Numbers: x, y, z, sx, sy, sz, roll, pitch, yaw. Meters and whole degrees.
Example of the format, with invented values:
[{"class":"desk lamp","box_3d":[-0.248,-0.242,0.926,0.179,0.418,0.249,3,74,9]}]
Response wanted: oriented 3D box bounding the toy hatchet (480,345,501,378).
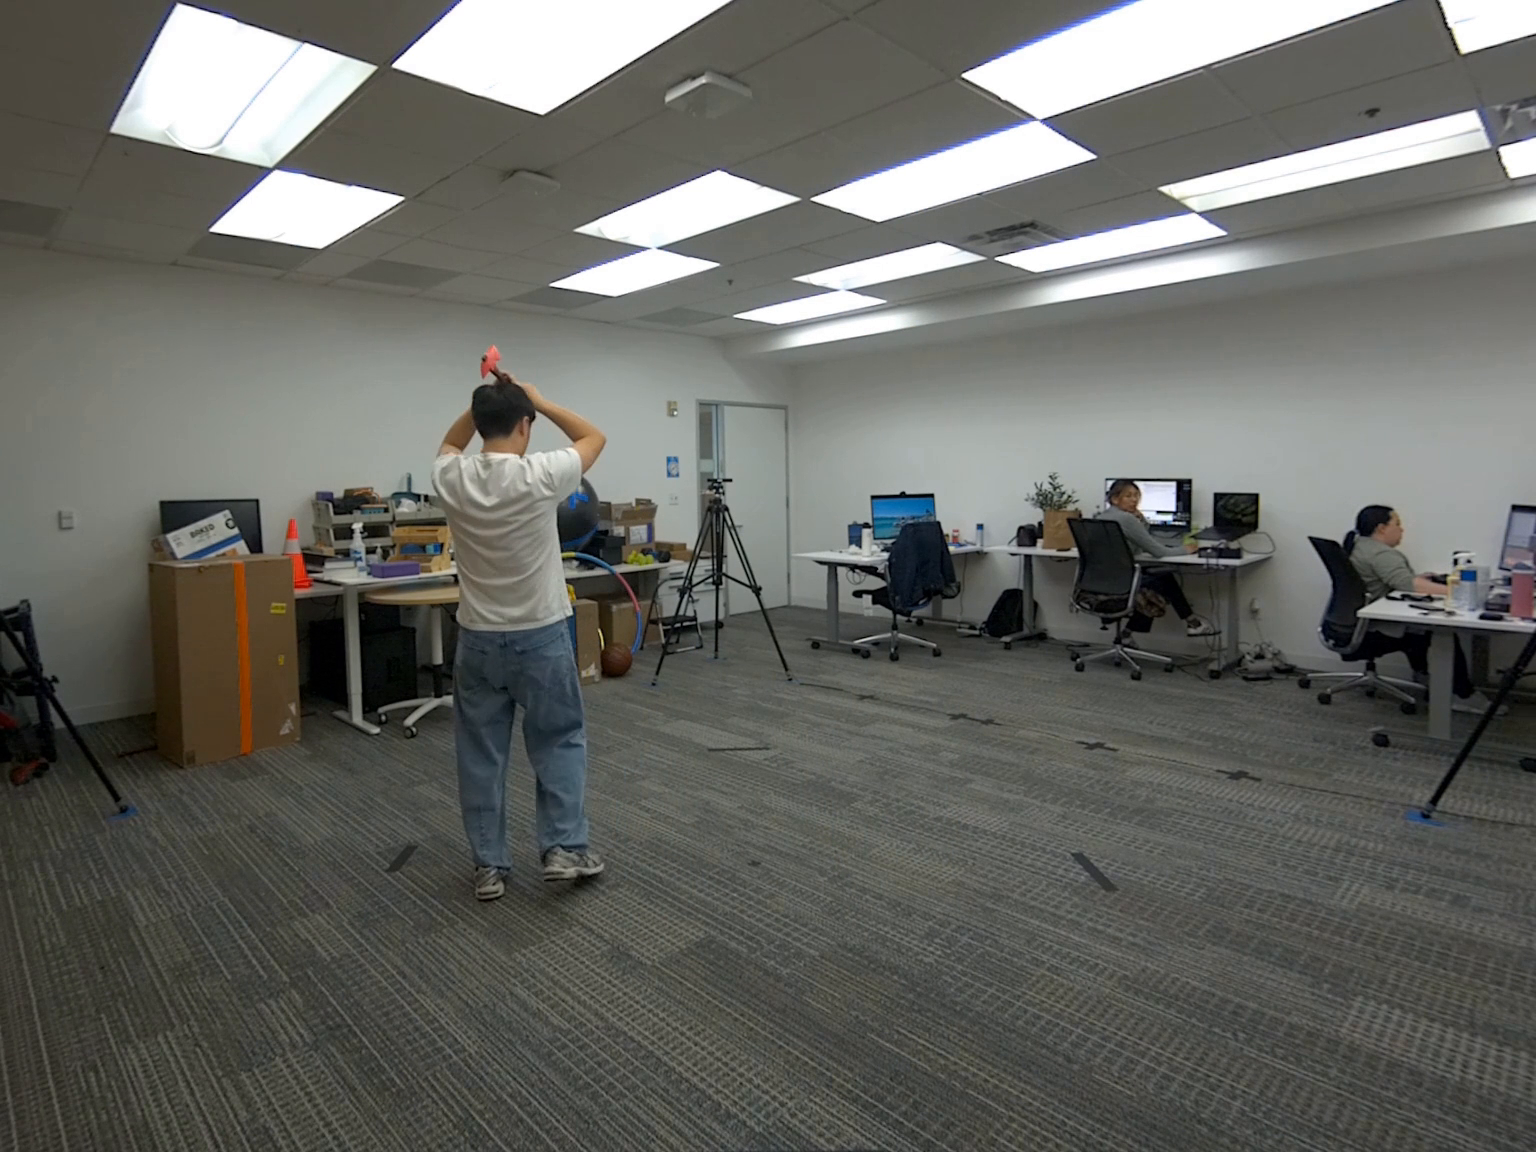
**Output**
[{"class":"toy hatchet","box_3d":[-0.920,-0.717,2.996,0.030,0.132,0.264,-3,-6,14]}]
